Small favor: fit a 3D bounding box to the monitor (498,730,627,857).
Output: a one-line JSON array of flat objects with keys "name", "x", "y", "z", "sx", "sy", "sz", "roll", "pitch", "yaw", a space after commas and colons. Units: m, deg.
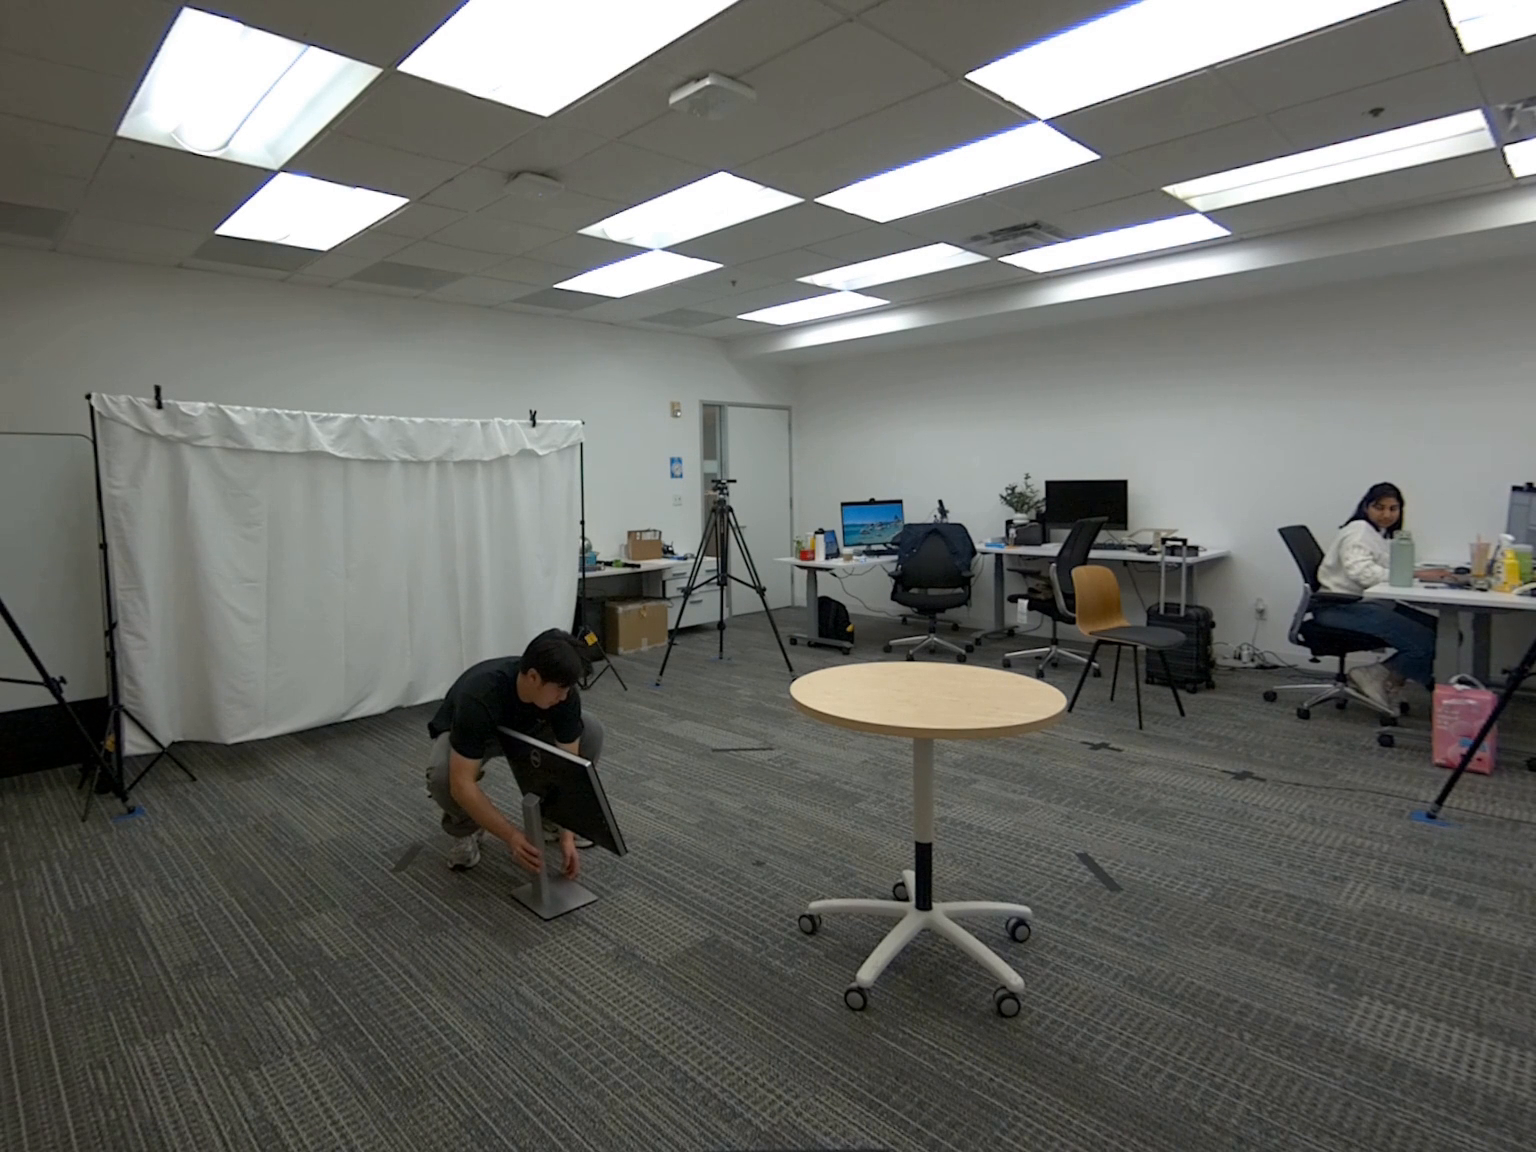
[{"name": "monitor", "x": -0.726, "y": 0.826, "z": 2.859, "sx": 0.579, "sy": 0.563, "sz": 0.216, "roll": 5, "pitch": 9, "yaw": 44}]
